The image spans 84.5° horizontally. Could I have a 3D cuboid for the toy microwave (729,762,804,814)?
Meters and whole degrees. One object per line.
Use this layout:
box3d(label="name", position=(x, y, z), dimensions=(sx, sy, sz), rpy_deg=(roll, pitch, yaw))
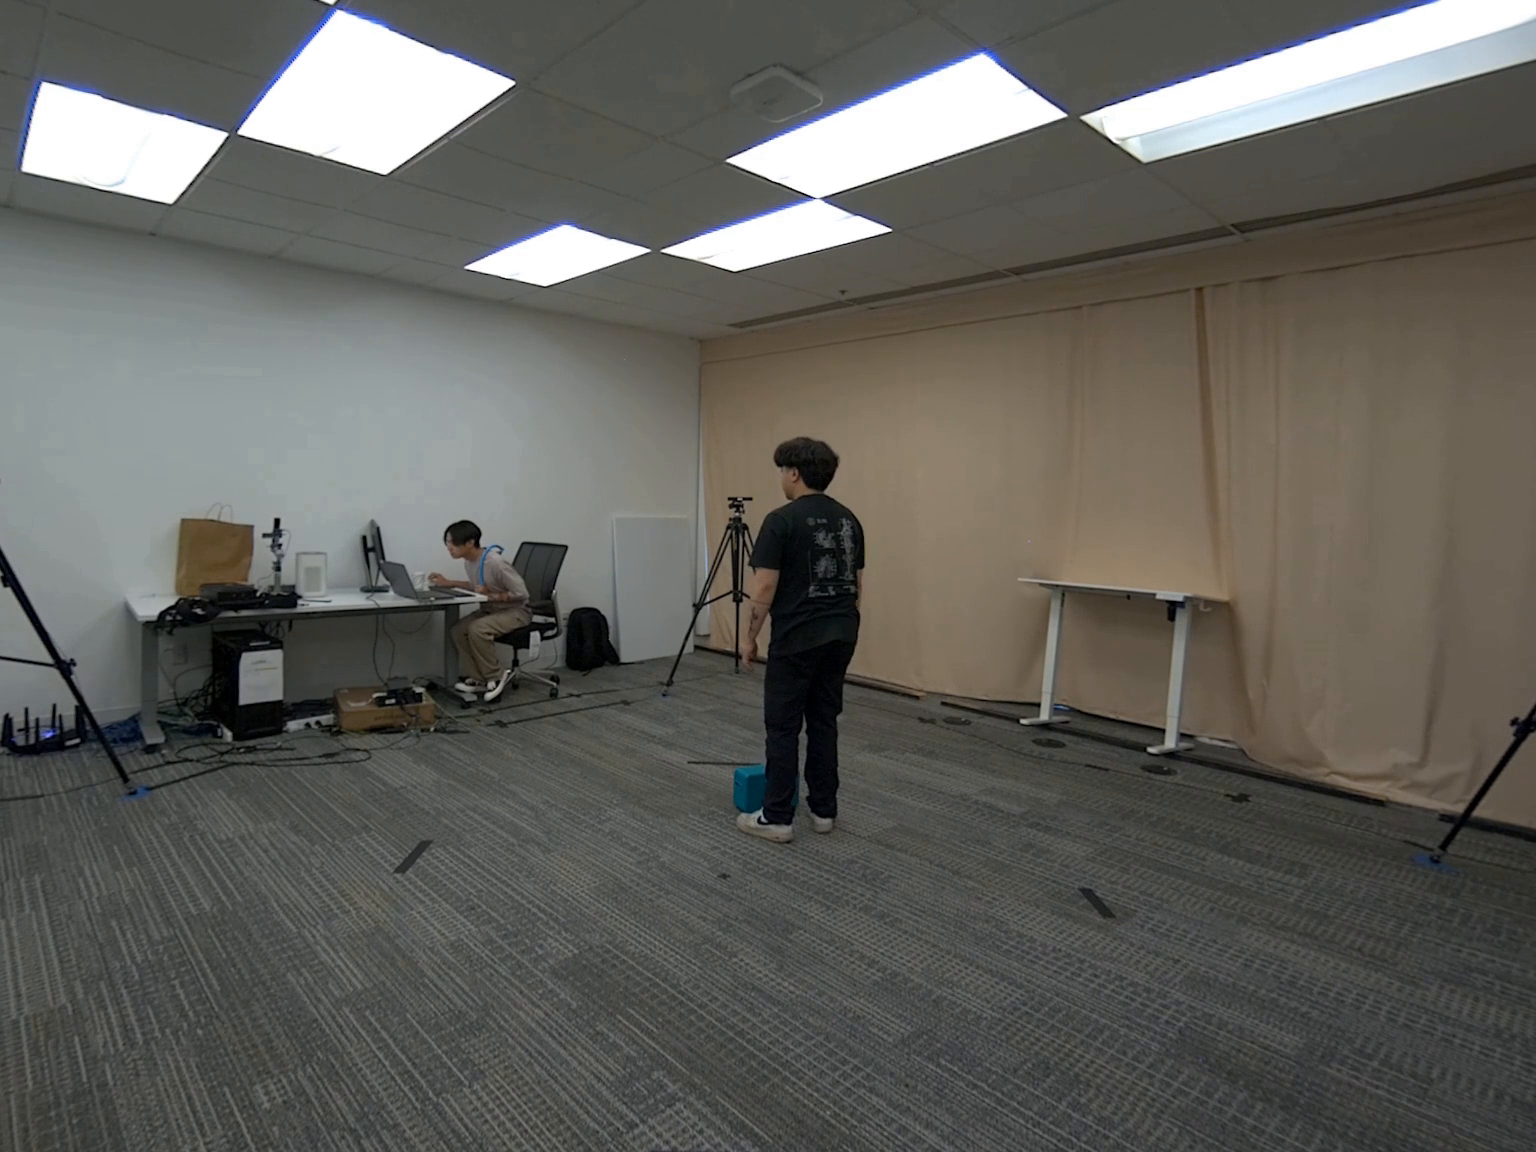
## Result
box3d(label="toy microwave", position=(-0.010, 0.957, 3.819), dimensions=(0.280, 0.184, 0.156), rpy_deg=(0, 4, -30))
